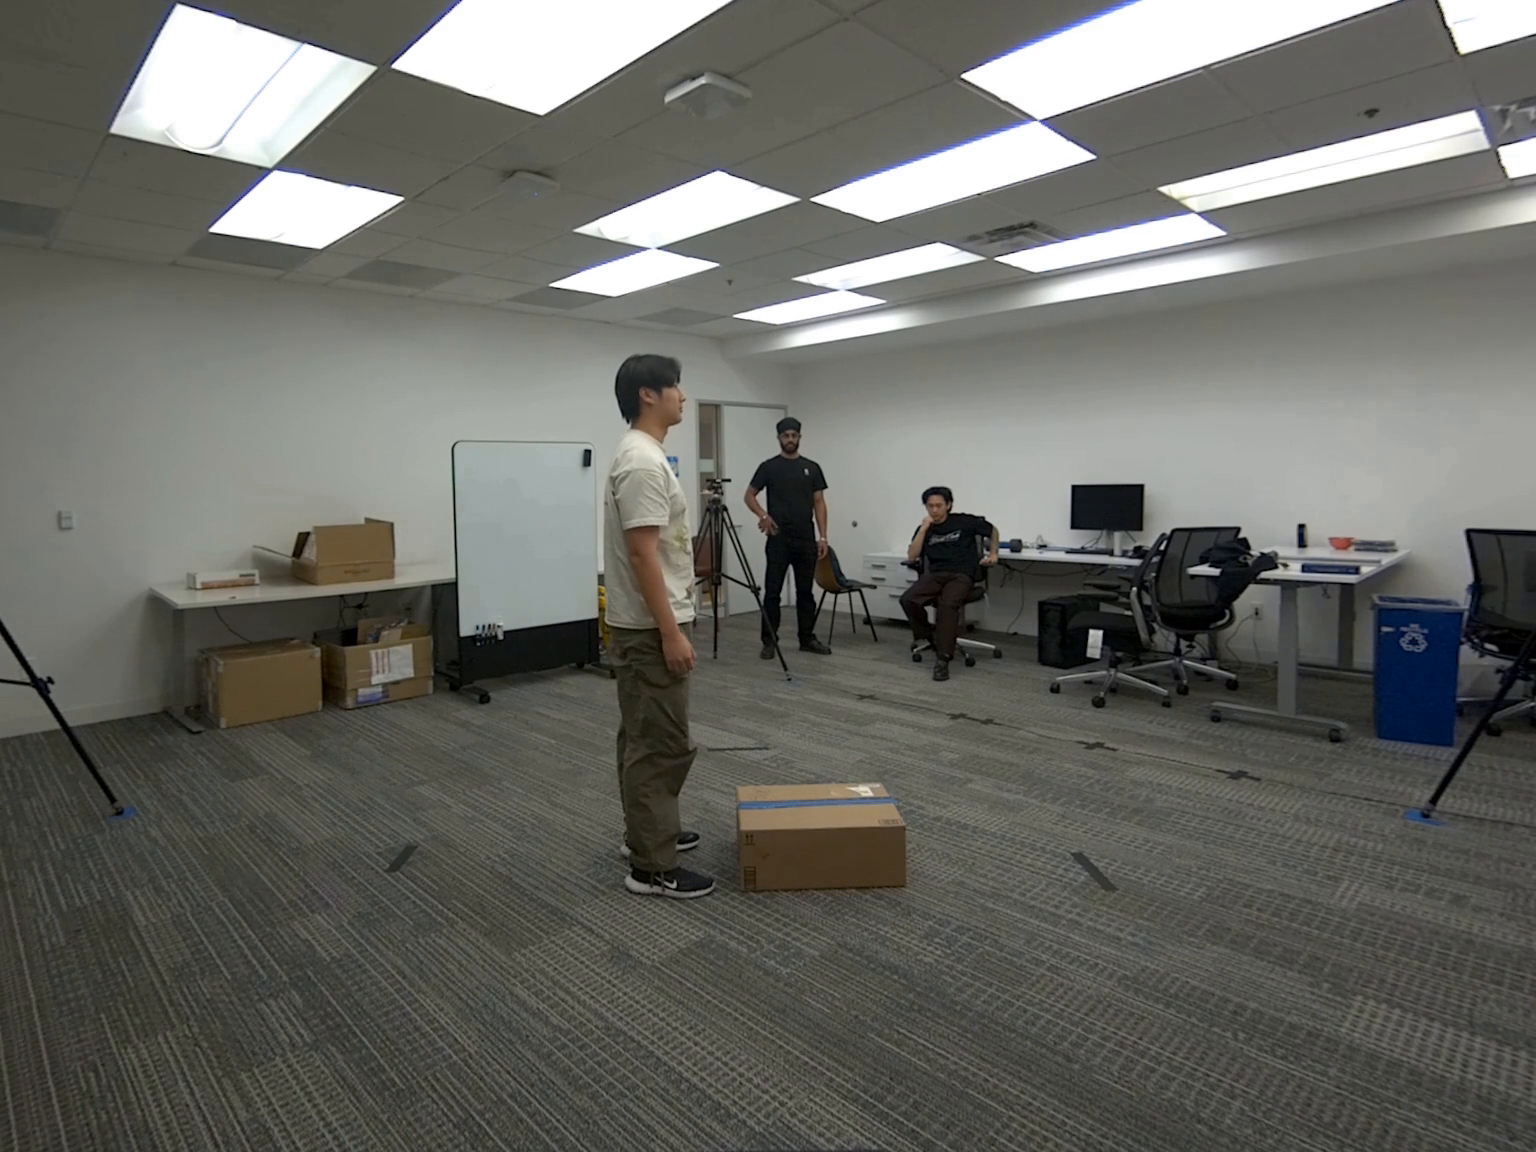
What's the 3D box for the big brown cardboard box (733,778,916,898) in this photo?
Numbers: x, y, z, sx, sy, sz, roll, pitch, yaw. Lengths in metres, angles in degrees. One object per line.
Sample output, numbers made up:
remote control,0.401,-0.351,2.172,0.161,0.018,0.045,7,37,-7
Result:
big brown cardboard box,0.182,0.927,3.090,0.588,0.232,0.420,-3,5,-3
